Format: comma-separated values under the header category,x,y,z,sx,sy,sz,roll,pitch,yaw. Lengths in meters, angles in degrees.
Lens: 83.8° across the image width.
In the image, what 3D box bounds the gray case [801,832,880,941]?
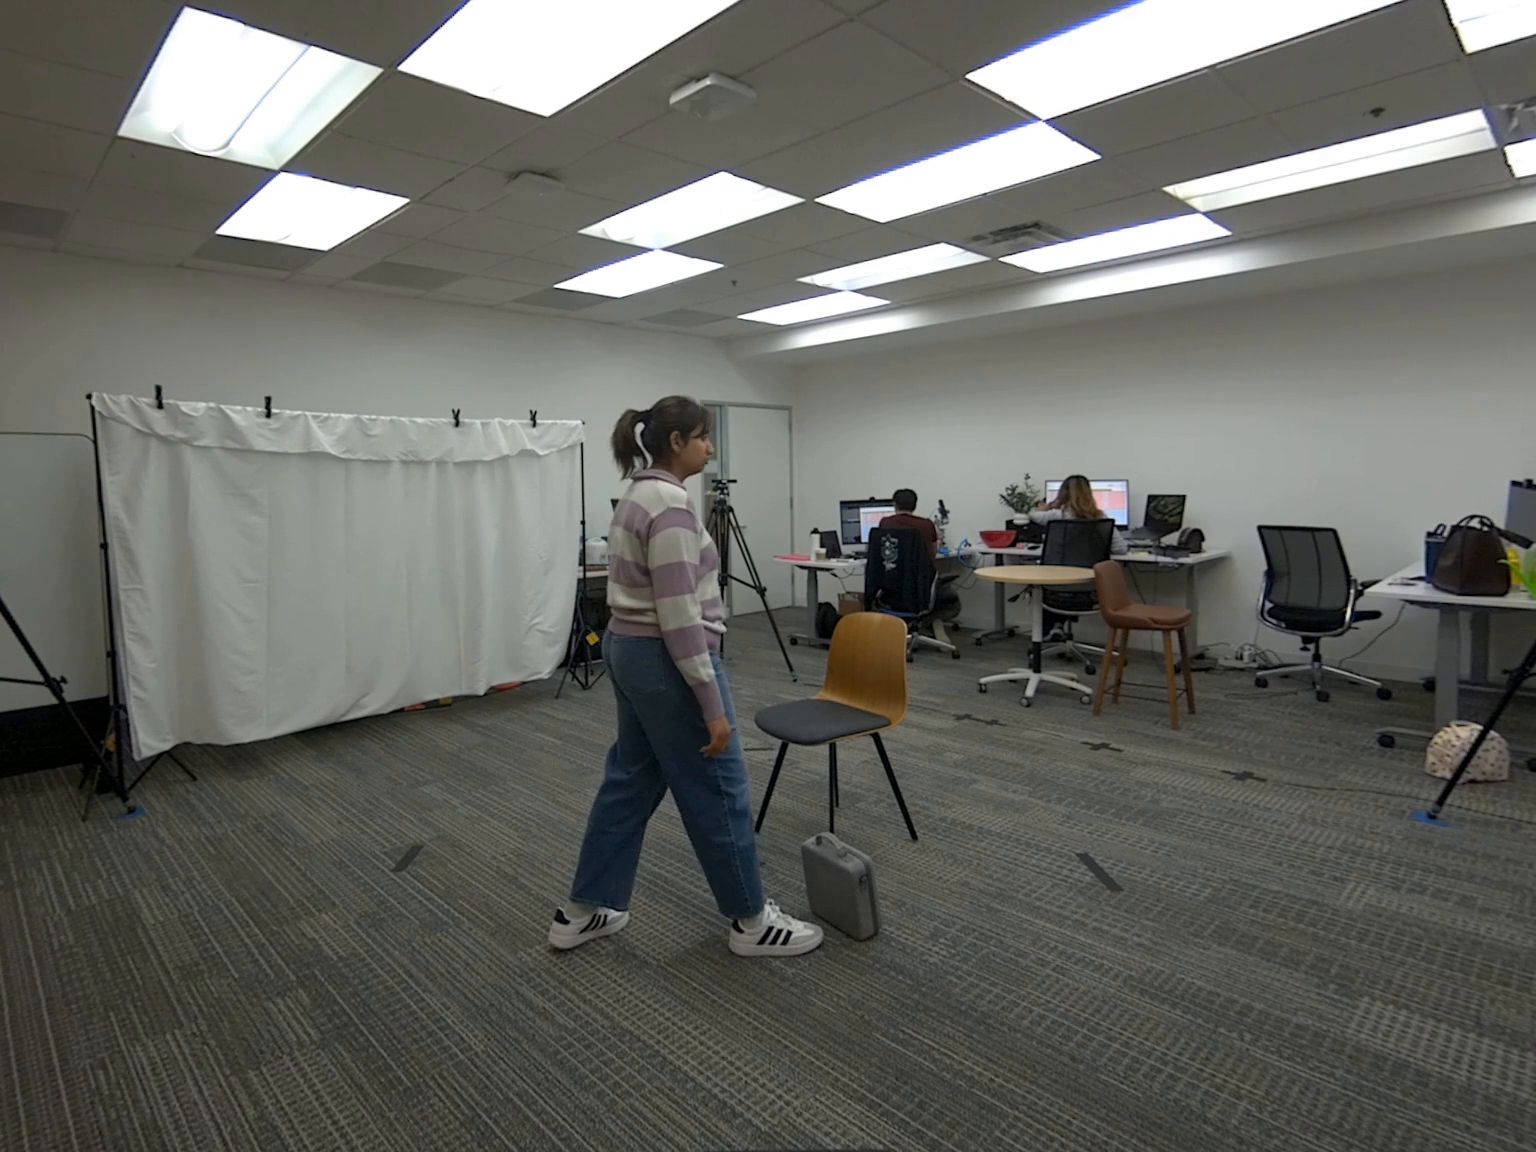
category,x,y,z,sx,sy,sz,roll,pitch,yaw
gray case,0.229,0.955,2.669,0.102,0.259,0.264,-10,9,-30
